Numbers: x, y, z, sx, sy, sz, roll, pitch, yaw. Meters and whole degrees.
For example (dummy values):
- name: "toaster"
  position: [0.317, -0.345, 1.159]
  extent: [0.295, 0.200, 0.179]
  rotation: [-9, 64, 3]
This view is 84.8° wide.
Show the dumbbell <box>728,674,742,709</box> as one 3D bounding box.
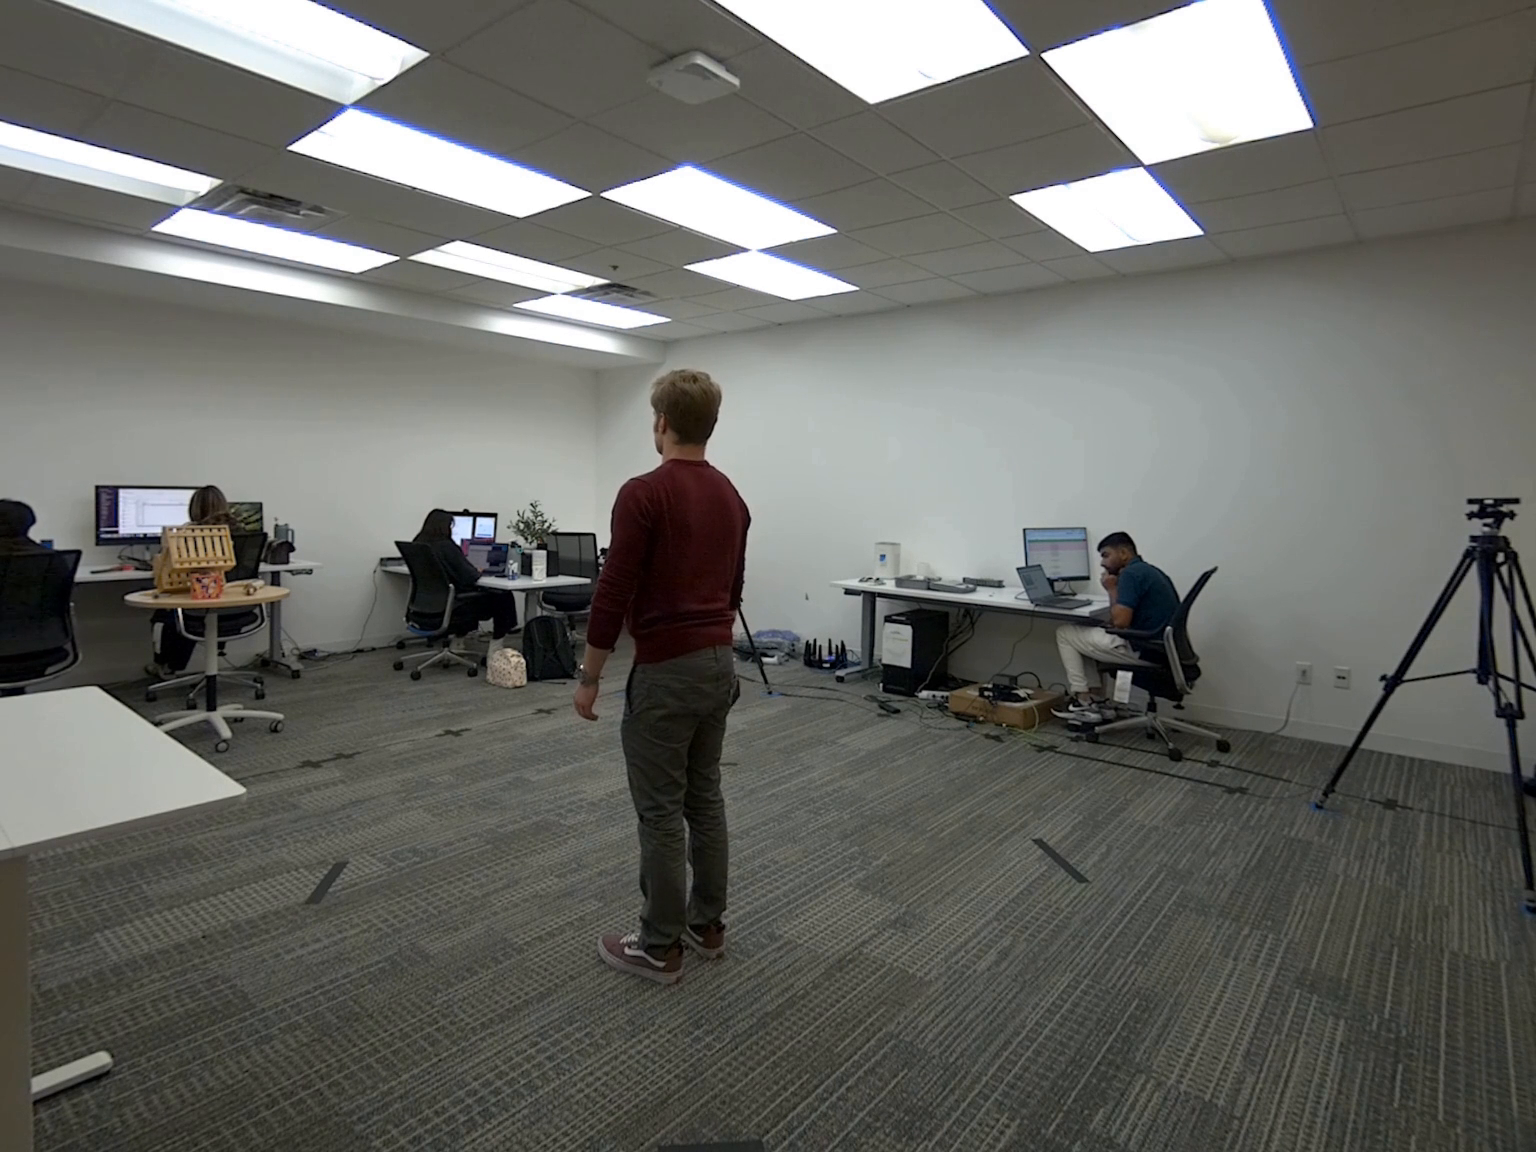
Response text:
- name: "dumbbell"
  position: [-0.245, 0.341, 2.778]
  extent: [0.304, 0.121, 0.106]
  rotation: [13, 22, 42]
